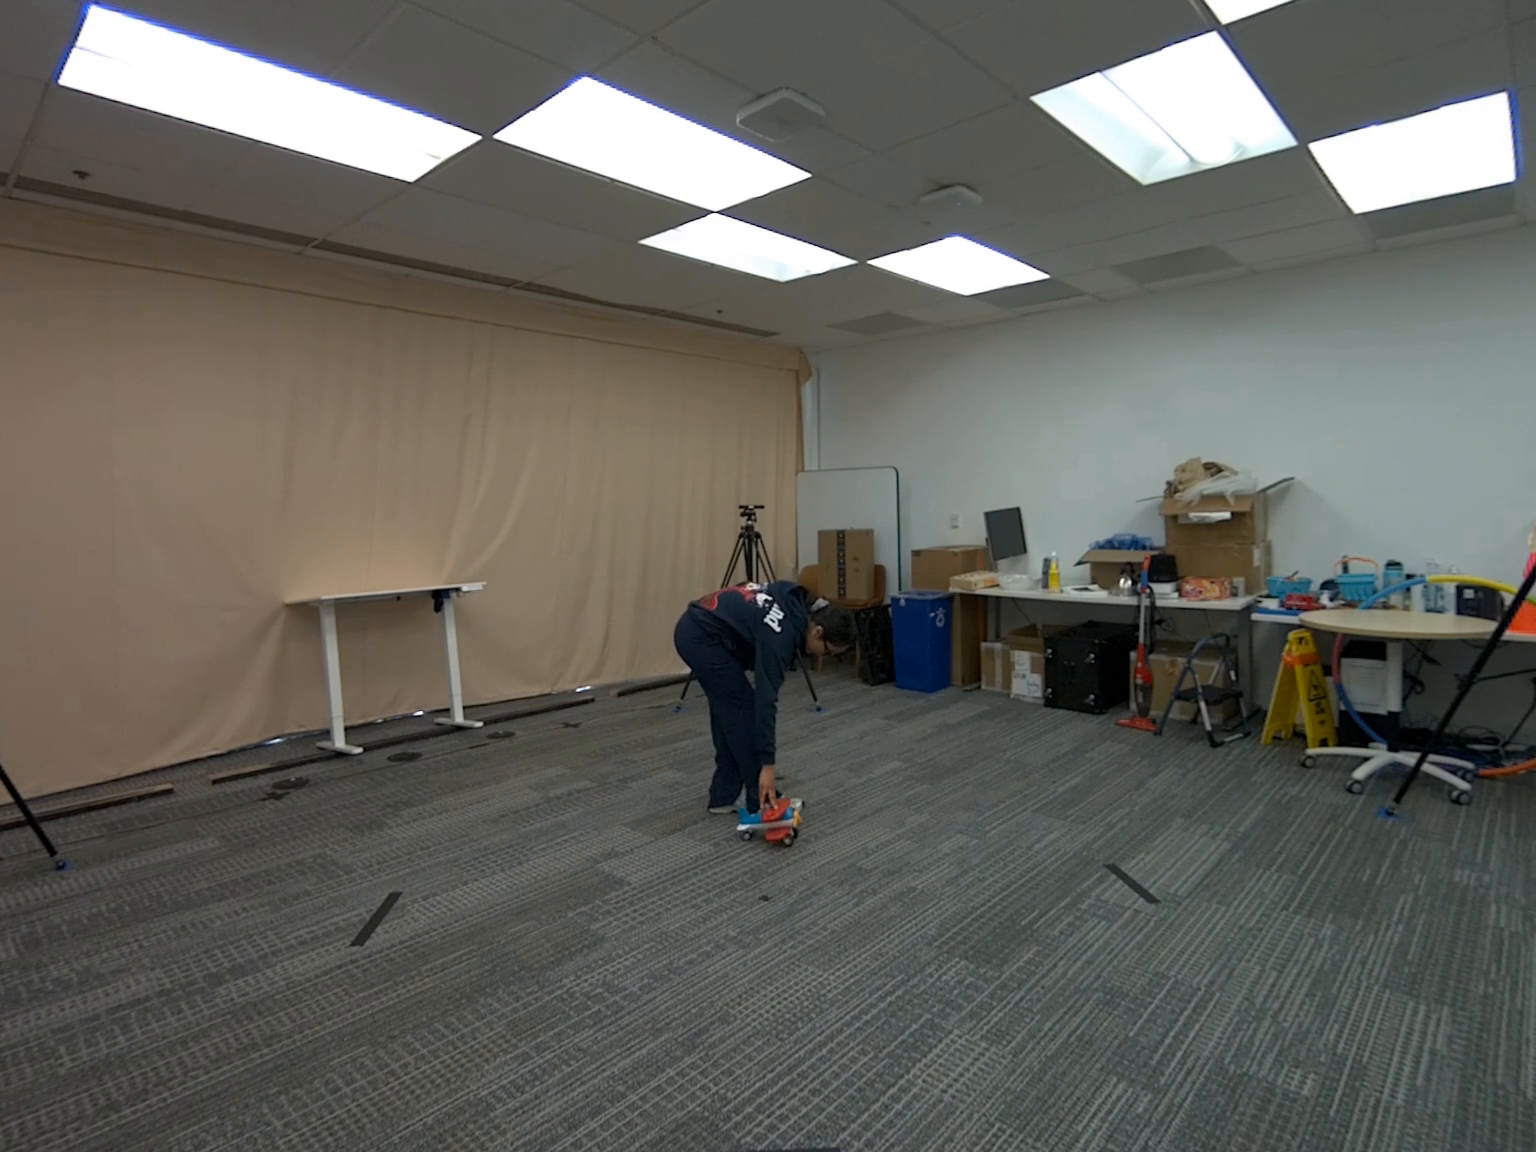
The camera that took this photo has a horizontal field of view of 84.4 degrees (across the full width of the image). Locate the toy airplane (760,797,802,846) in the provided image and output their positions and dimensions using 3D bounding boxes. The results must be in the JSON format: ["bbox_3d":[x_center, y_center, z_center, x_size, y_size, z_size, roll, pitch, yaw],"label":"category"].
[{"bbox_3d":[0.006,1.024,3.466,0.256,0.156,0.255,-3,4,-12],"label":"toy airplane"}]
